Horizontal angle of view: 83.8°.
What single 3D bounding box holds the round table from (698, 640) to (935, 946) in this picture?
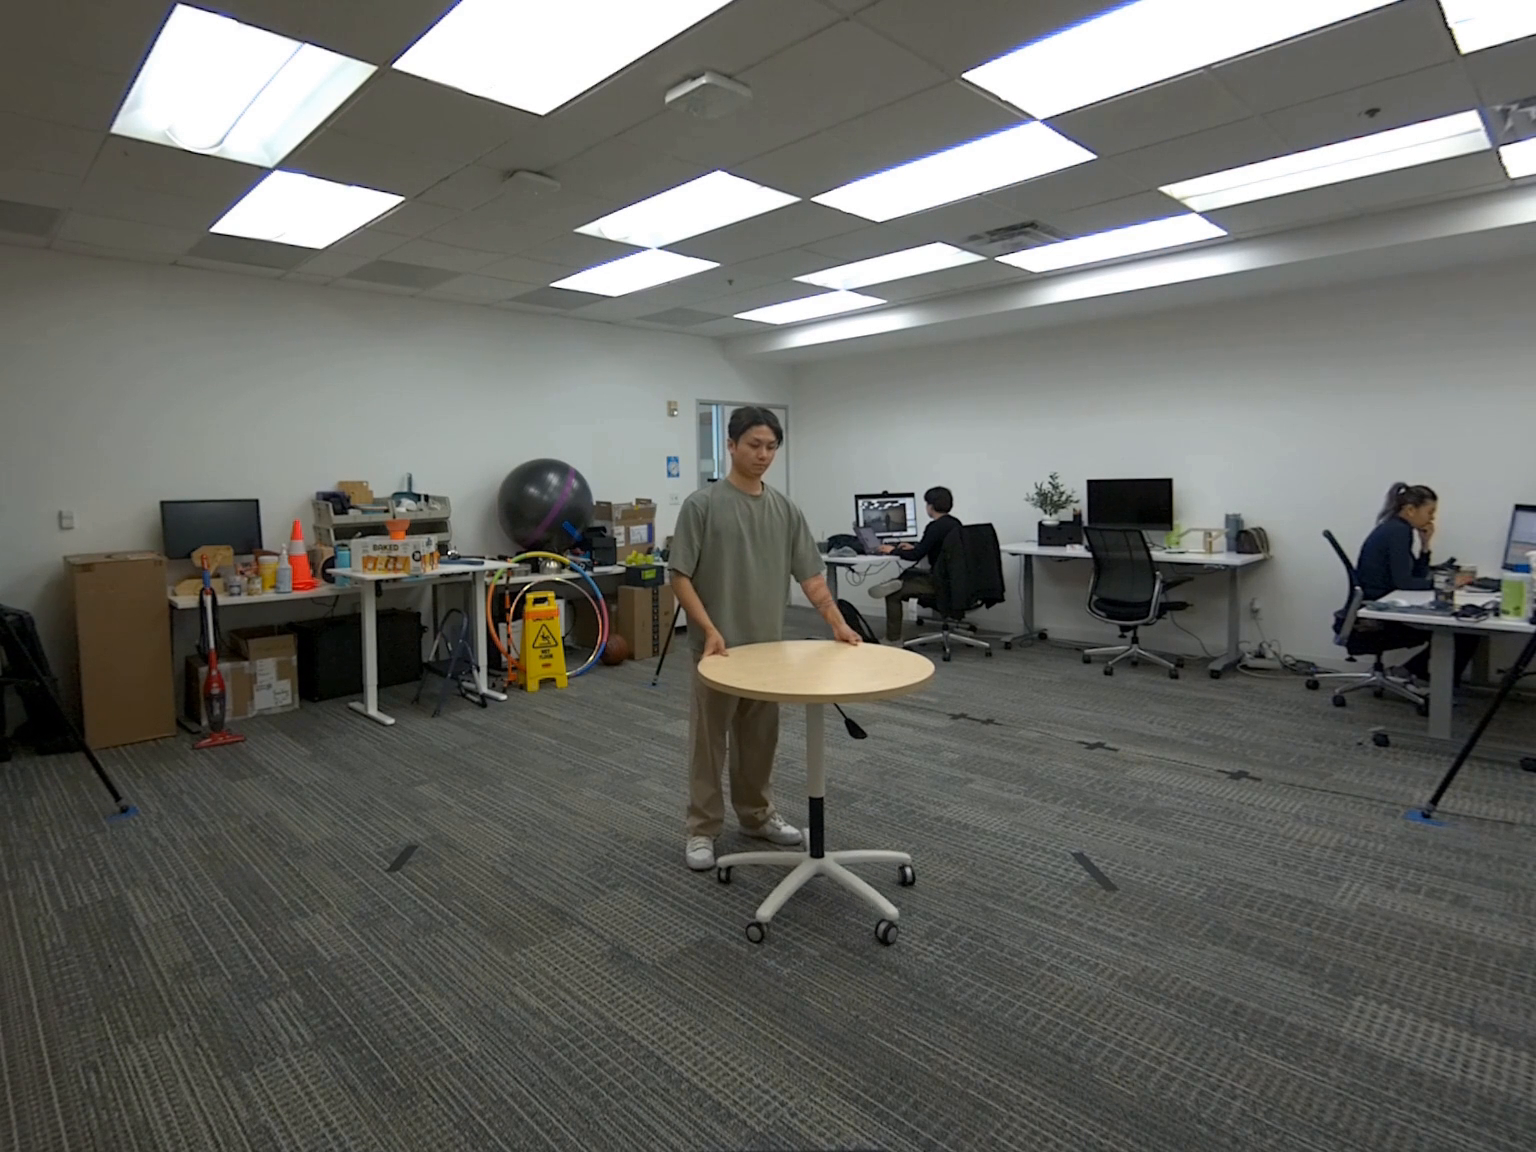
[{"bbox_3d":[0.166,0.677,2.833,0.784,0.783,0.789,-1,5,-2],"label":"round table"}]
